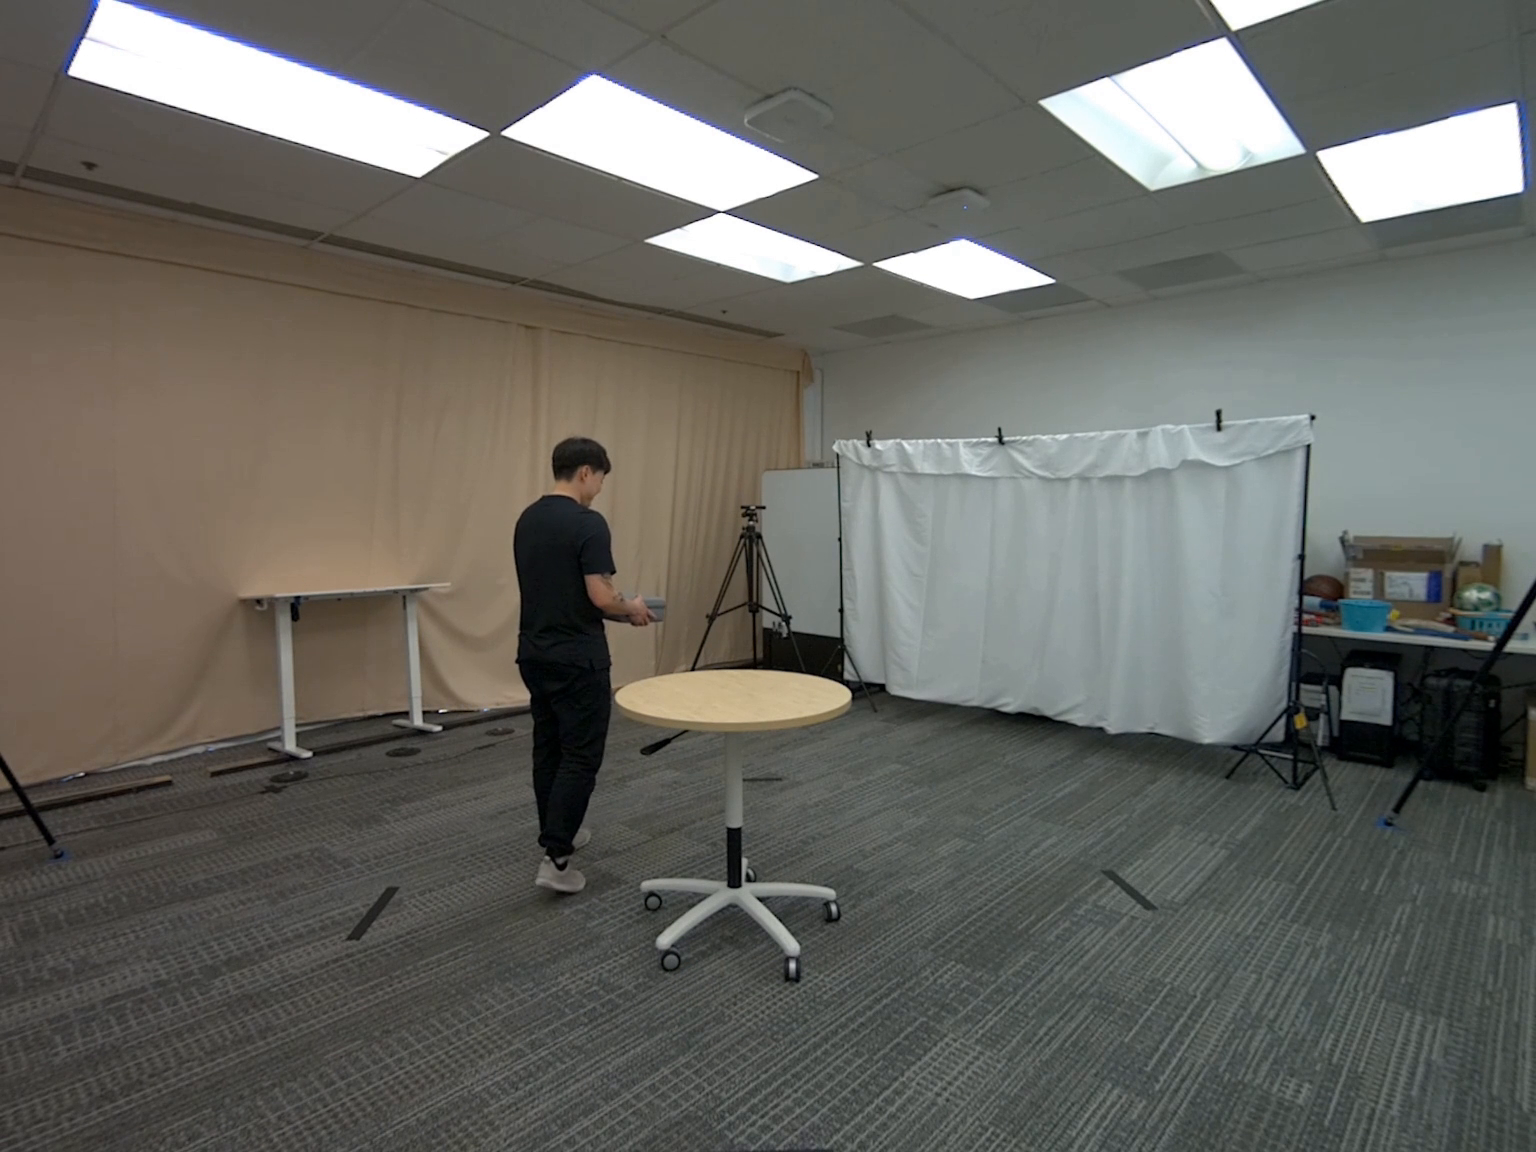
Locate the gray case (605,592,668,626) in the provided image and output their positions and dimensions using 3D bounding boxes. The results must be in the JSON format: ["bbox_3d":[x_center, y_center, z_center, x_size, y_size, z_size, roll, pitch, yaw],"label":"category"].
[{"bbox_3d":[-0.599,0.130,3.475,0.266,0.104,0.252,7,4,43],"label":"gray case"}]
